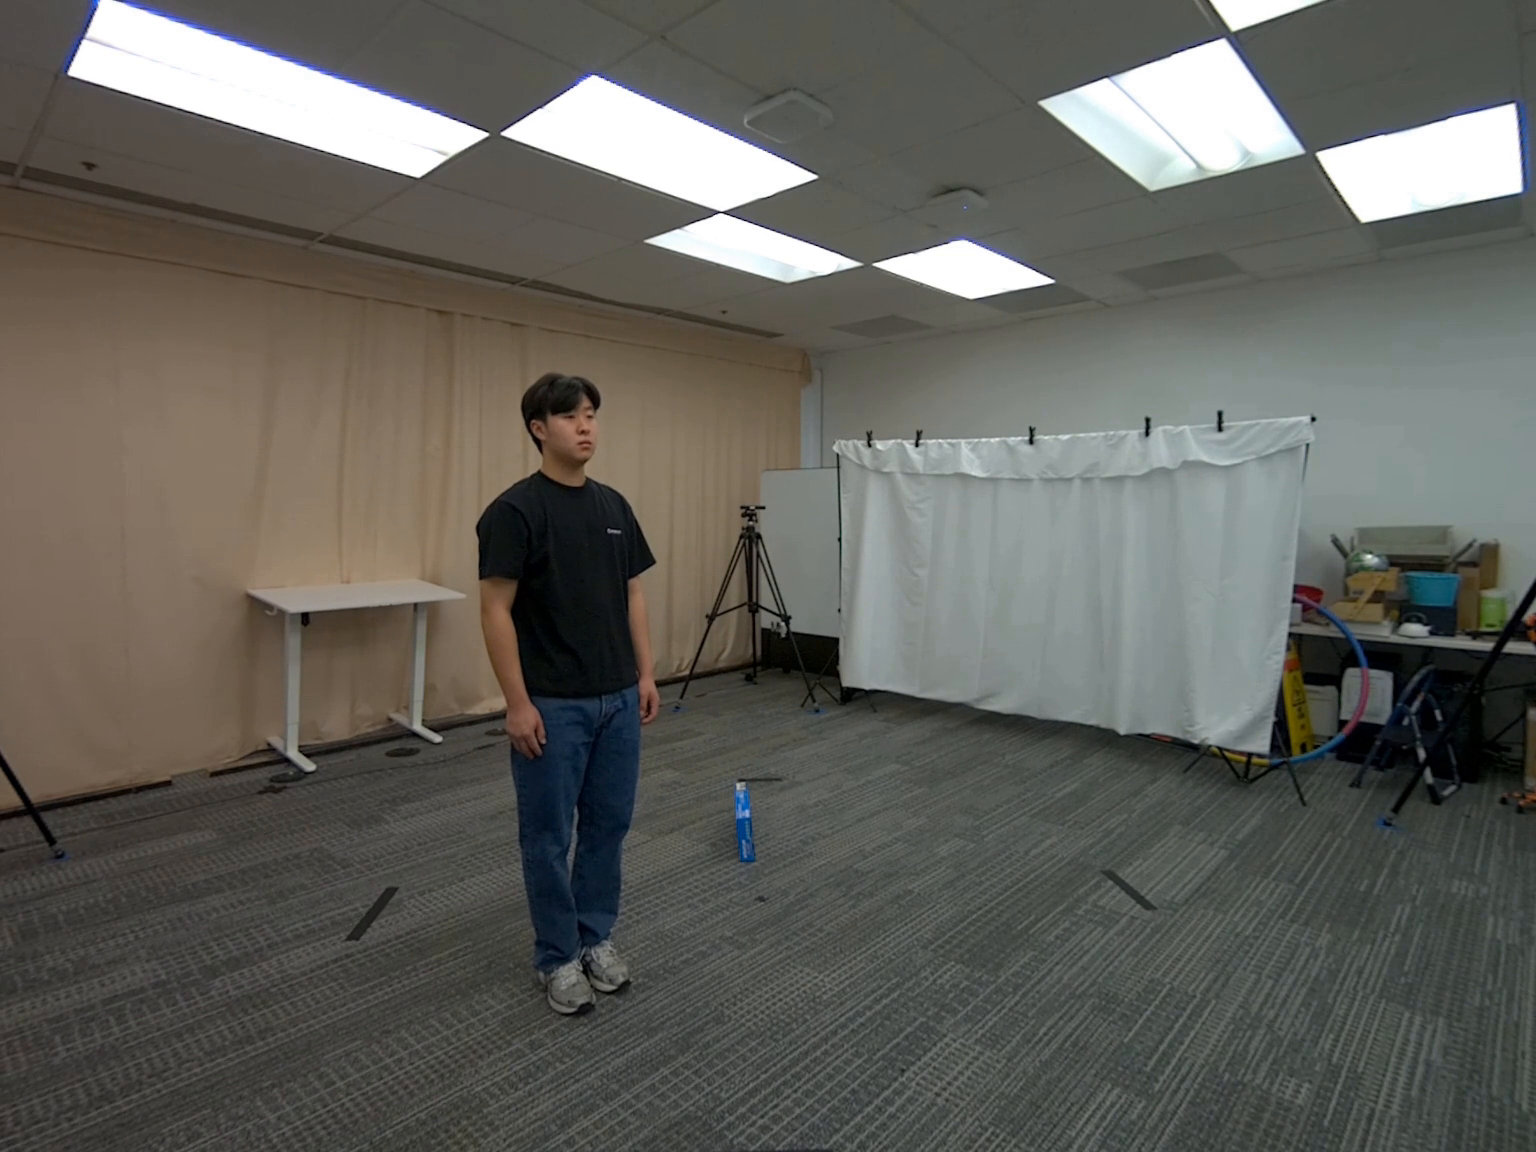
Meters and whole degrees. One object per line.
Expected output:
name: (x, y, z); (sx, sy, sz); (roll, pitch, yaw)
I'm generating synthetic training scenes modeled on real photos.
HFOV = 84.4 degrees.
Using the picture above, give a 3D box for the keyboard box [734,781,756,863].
keyboard box: (-0.097, 1.013, 3.505); (0.059, 0.175, 0.439); (-5, 5, -3)
